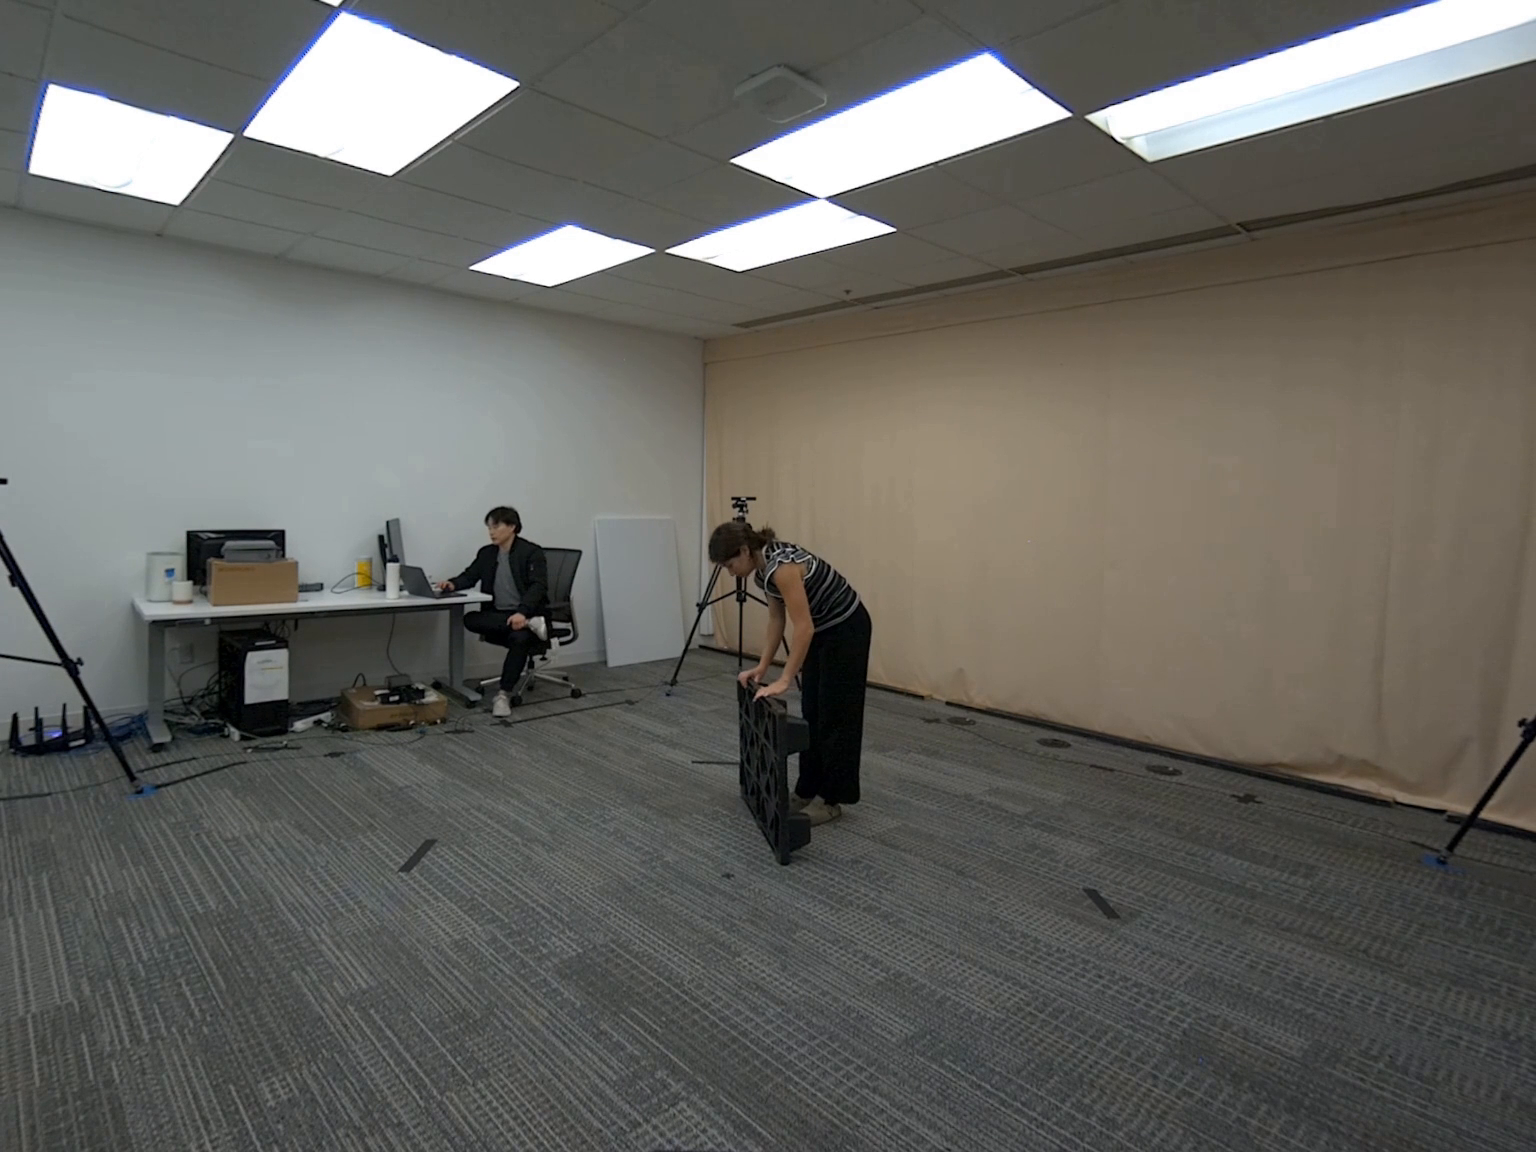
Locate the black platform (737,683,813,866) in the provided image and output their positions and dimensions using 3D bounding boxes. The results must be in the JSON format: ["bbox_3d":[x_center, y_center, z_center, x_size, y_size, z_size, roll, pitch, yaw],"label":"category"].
[{"bbox_3d":[0.004,0.762,3.575,0.142,0.603,0.815,-2,5,-13],"label":"black platform"}]
